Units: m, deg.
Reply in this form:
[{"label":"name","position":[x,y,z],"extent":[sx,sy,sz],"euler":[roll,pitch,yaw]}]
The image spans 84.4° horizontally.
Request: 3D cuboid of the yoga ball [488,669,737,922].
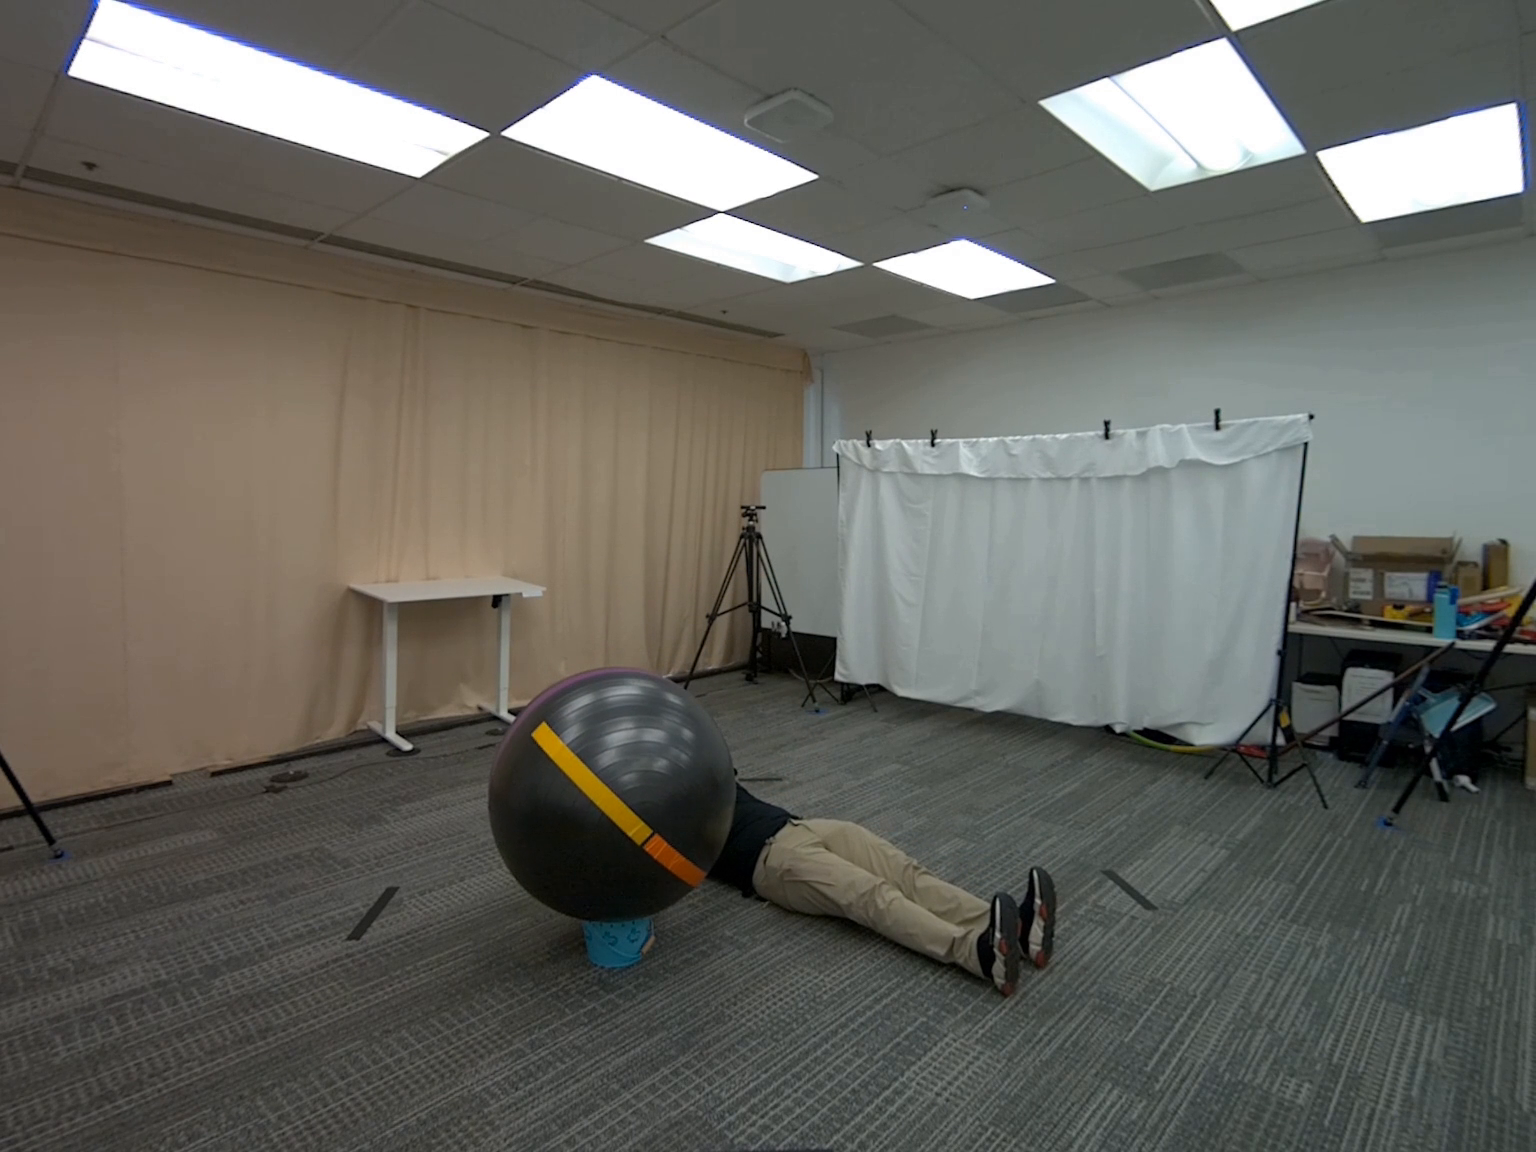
[{"label":"yoga ball","position":[-0.477,0.673,2.610],"extent":[0.757,0.756,0.761],"euler":[0,4,-2]}]
